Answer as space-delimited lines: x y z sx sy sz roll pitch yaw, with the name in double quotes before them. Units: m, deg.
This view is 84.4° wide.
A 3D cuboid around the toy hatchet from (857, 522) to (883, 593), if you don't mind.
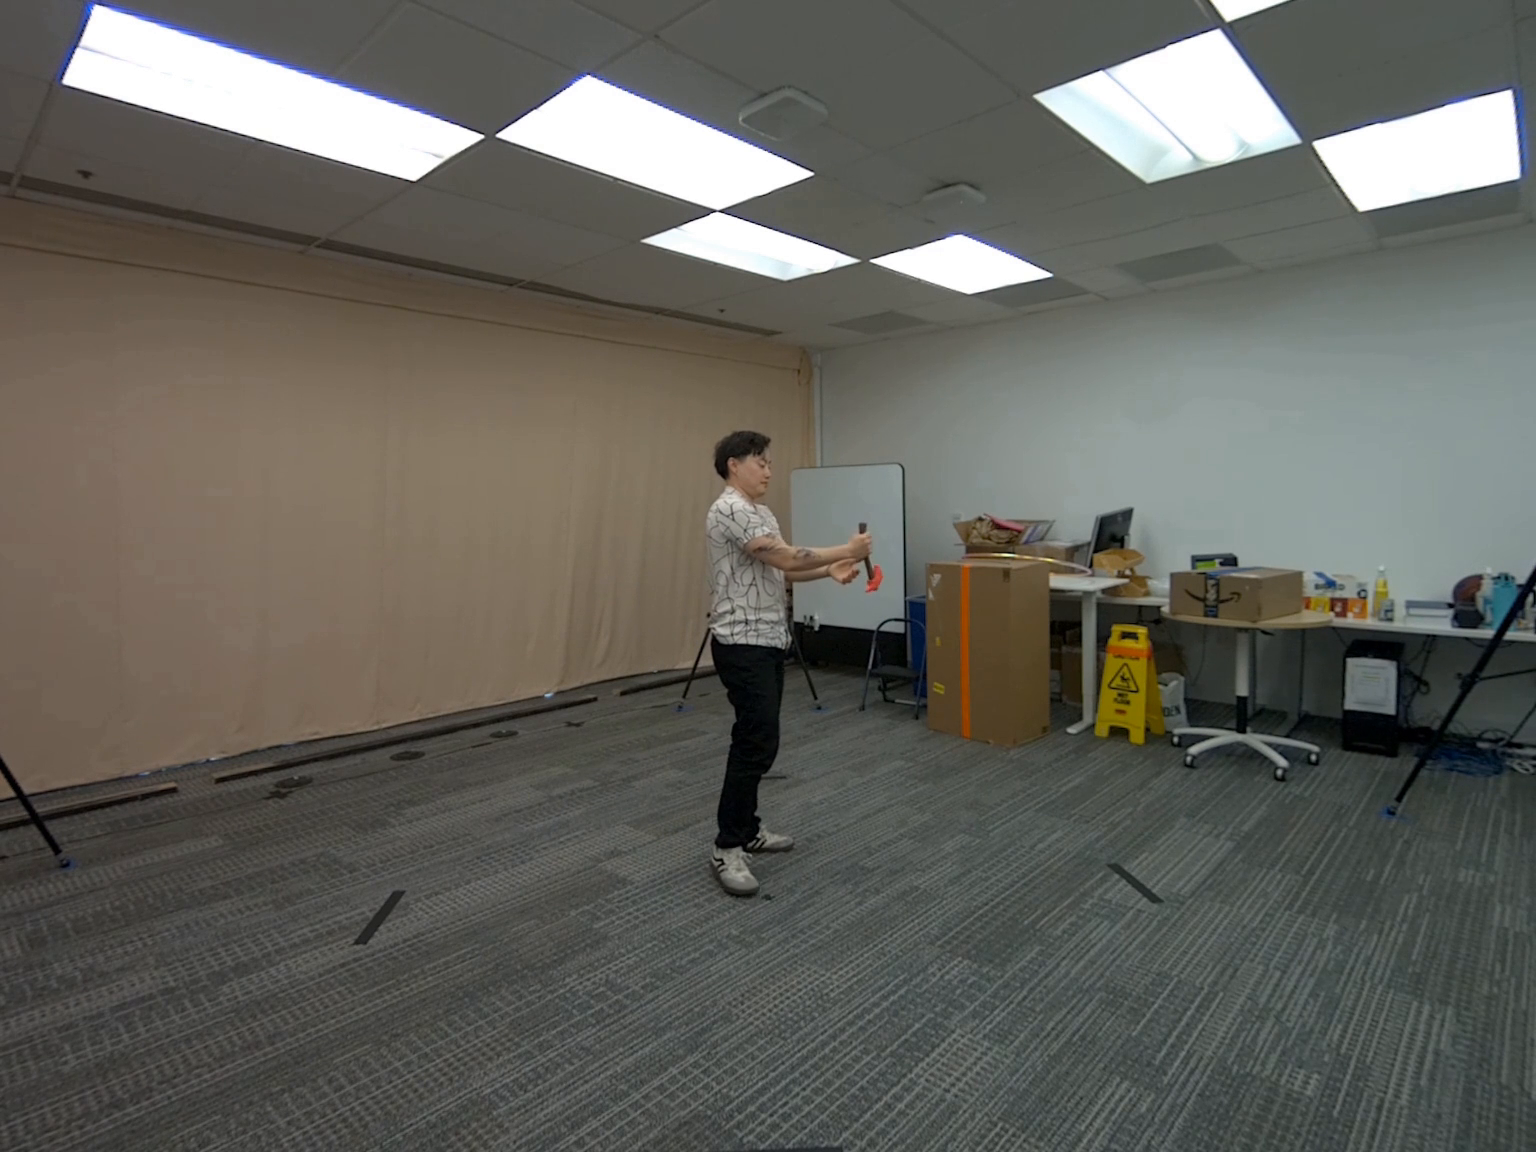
"toy hatchet" 0.401 -0.073 3.179 0.128 0.268 0.030 -15 12 -40
